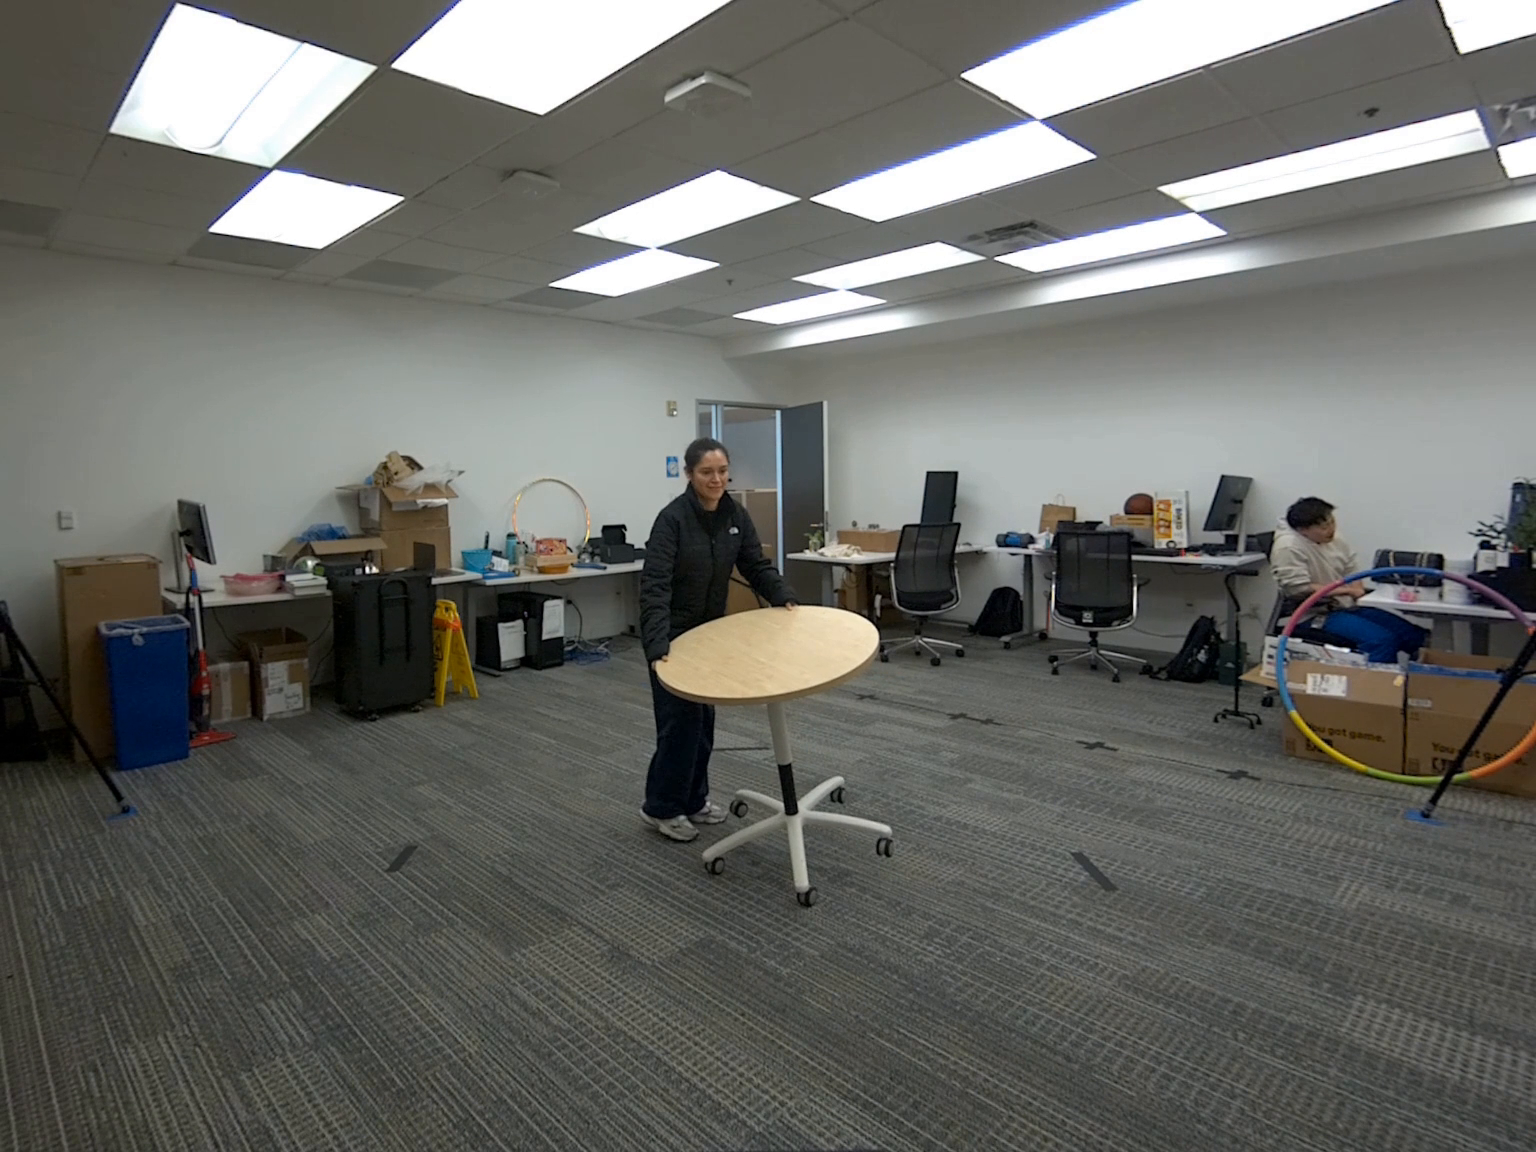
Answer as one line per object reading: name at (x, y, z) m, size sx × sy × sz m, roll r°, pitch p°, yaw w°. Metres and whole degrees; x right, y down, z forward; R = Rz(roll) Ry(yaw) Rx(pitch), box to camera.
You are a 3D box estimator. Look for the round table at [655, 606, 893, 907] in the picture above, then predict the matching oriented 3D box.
round table at (0.052, 0.607, 3.045) m, size 0.786 × 0.774 × 0.797 m, roll -8°, pitch 16°, yaw 1°
